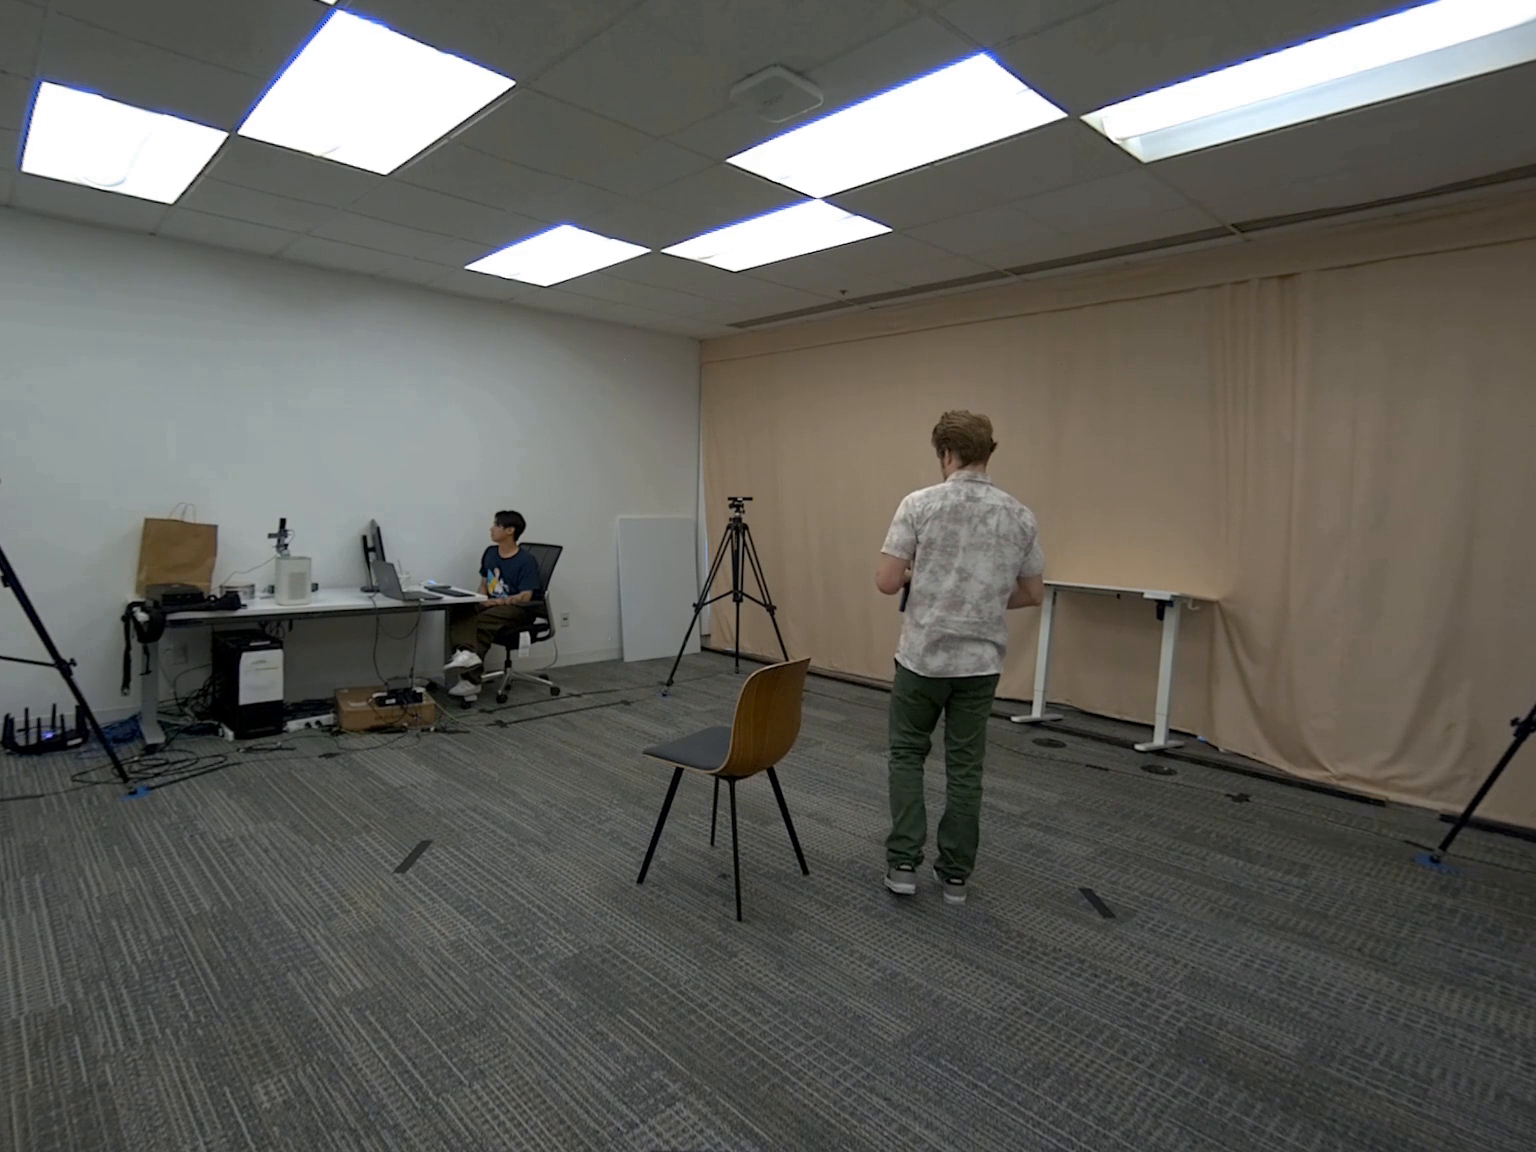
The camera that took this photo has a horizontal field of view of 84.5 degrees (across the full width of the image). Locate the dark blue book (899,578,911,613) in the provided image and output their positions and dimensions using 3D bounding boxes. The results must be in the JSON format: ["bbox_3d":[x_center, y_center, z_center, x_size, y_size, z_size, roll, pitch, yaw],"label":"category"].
[{"bbox_3d":[0.617,0.035,3.195,0.163,0.246,0.045,12,-5,-4],"label":"dark blue book"}]
